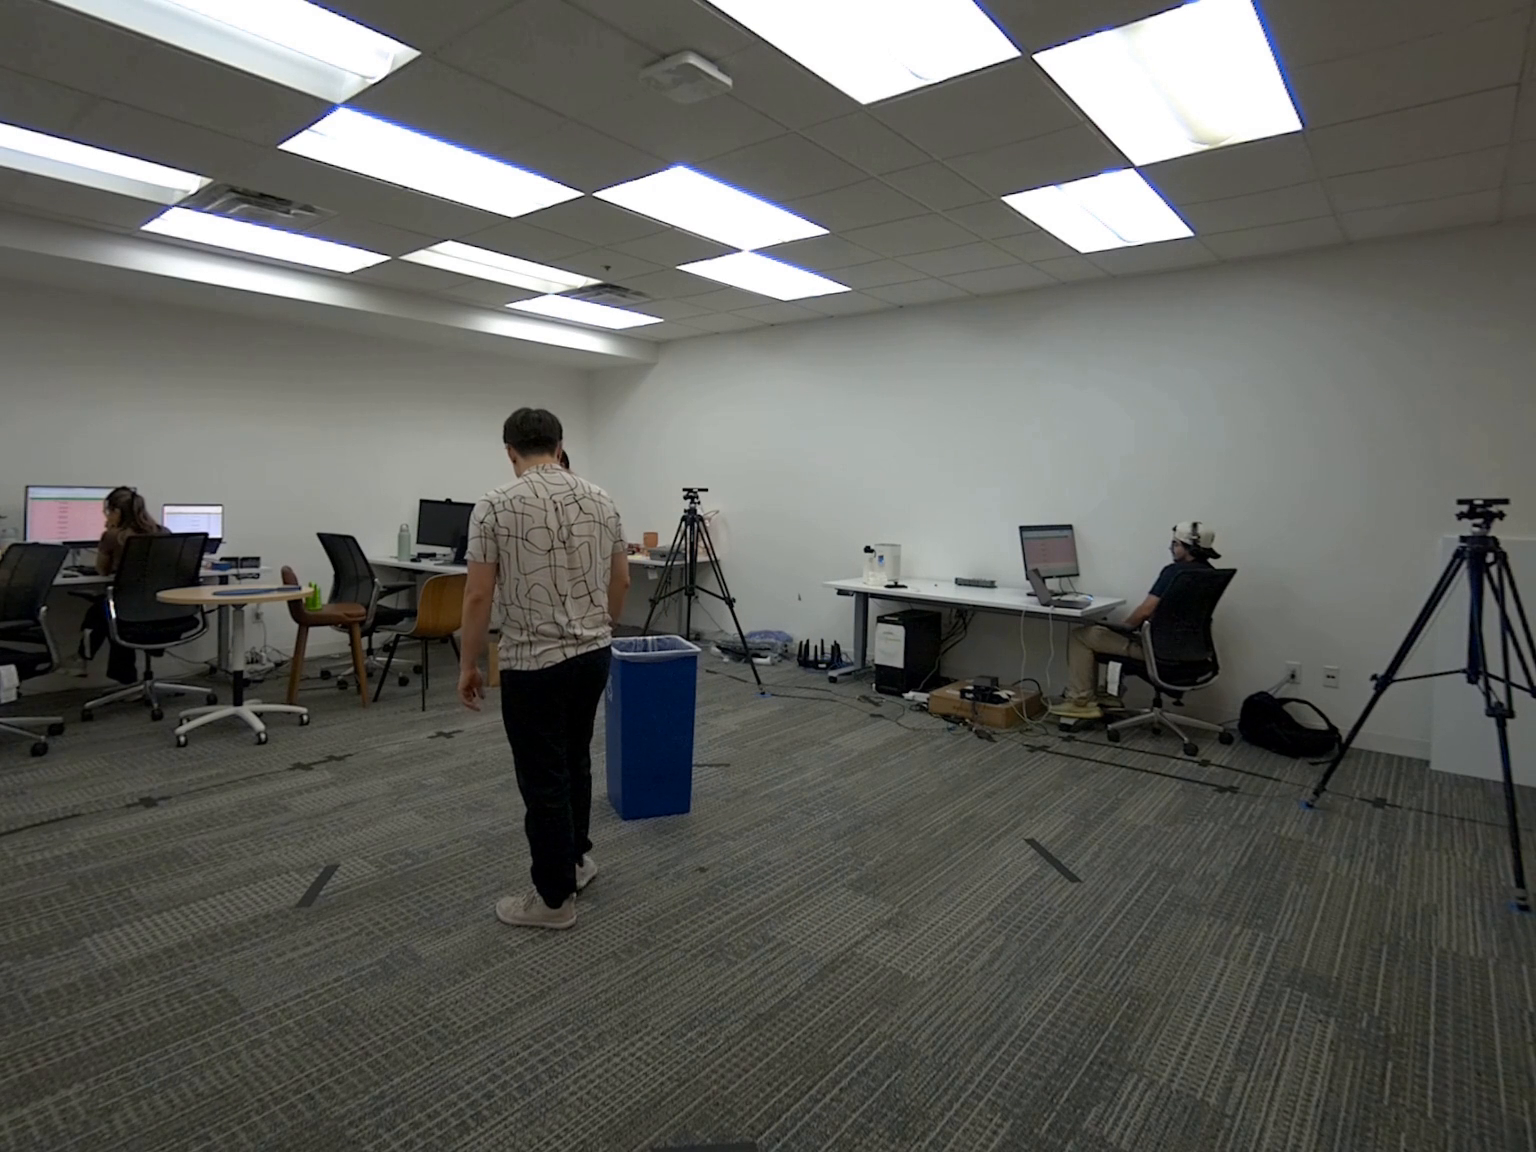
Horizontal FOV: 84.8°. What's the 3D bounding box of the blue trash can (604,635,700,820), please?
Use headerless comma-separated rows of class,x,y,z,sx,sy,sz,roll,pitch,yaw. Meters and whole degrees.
blue trash can,-0.527,0.648,3.719,0.370,0.711,0.383,-1,4,-22
